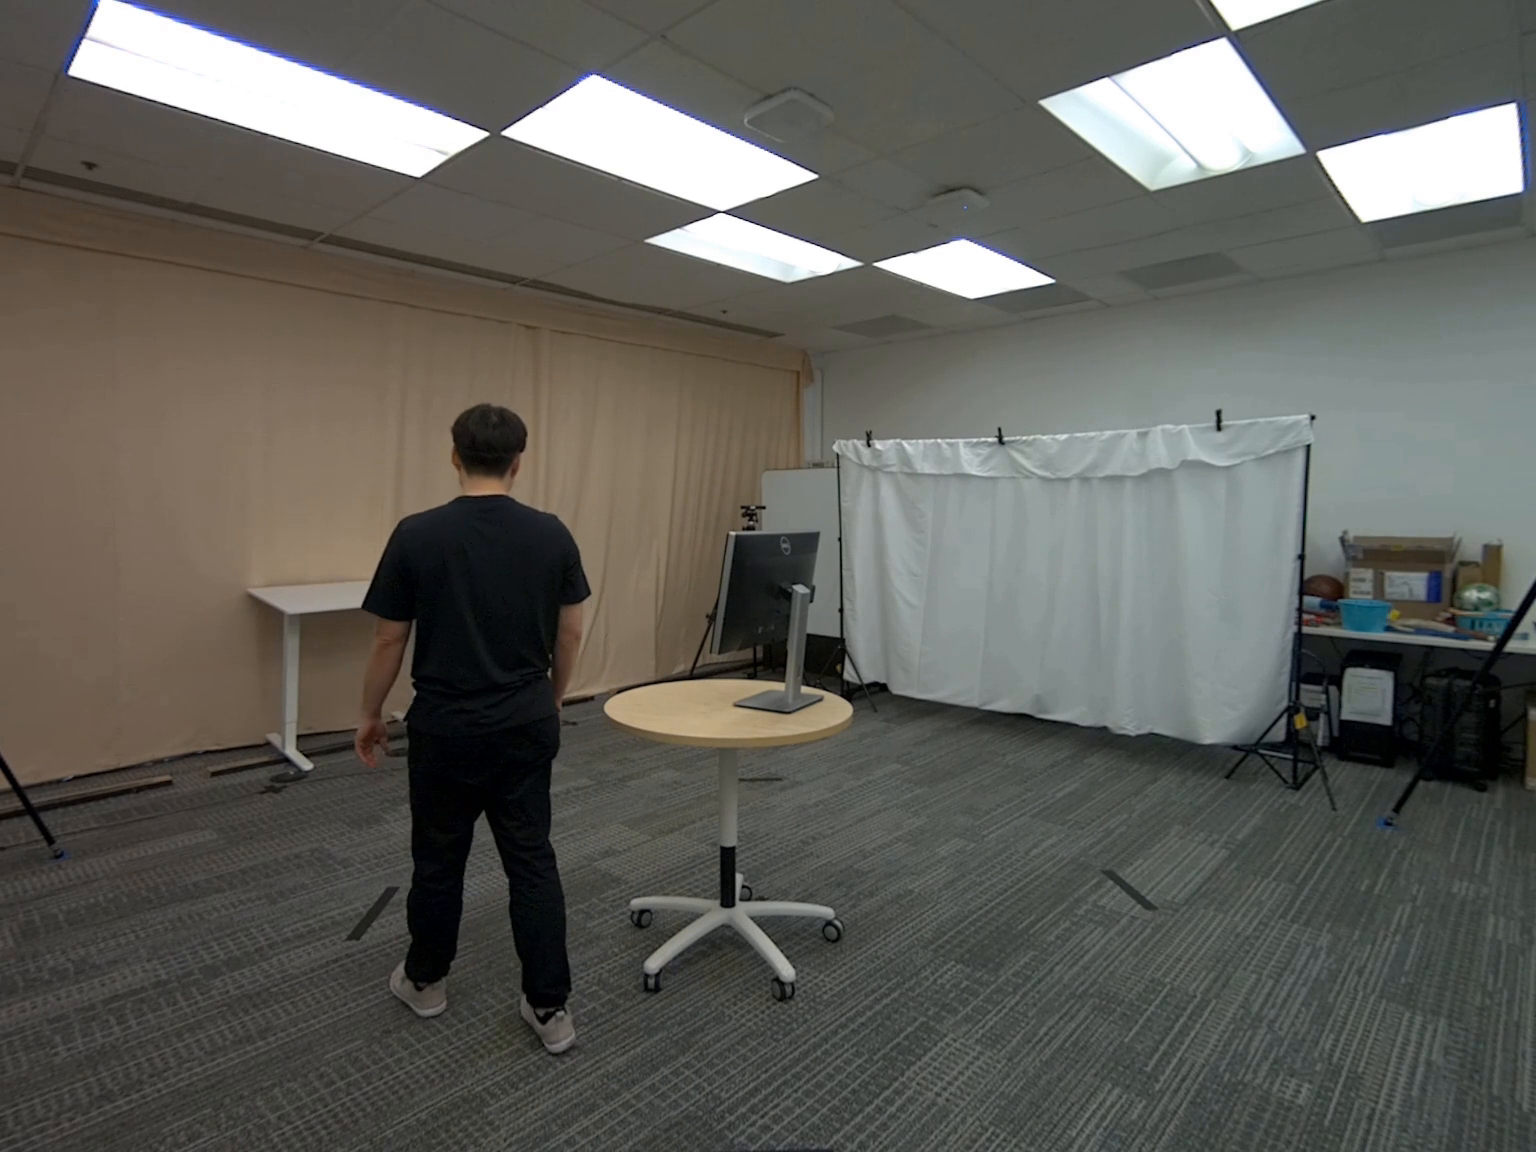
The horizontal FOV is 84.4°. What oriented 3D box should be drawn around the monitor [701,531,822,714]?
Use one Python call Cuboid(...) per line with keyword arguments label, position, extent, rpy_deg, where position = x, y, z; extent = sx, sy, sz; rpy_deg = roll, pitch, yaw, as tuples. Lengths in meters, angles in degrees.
Cuboid(label="monitor", position=(0.041, 0.137, 2.623), extent=(0.192, 0.522, 0.525), rpy_deg=(0, 3, 28))
